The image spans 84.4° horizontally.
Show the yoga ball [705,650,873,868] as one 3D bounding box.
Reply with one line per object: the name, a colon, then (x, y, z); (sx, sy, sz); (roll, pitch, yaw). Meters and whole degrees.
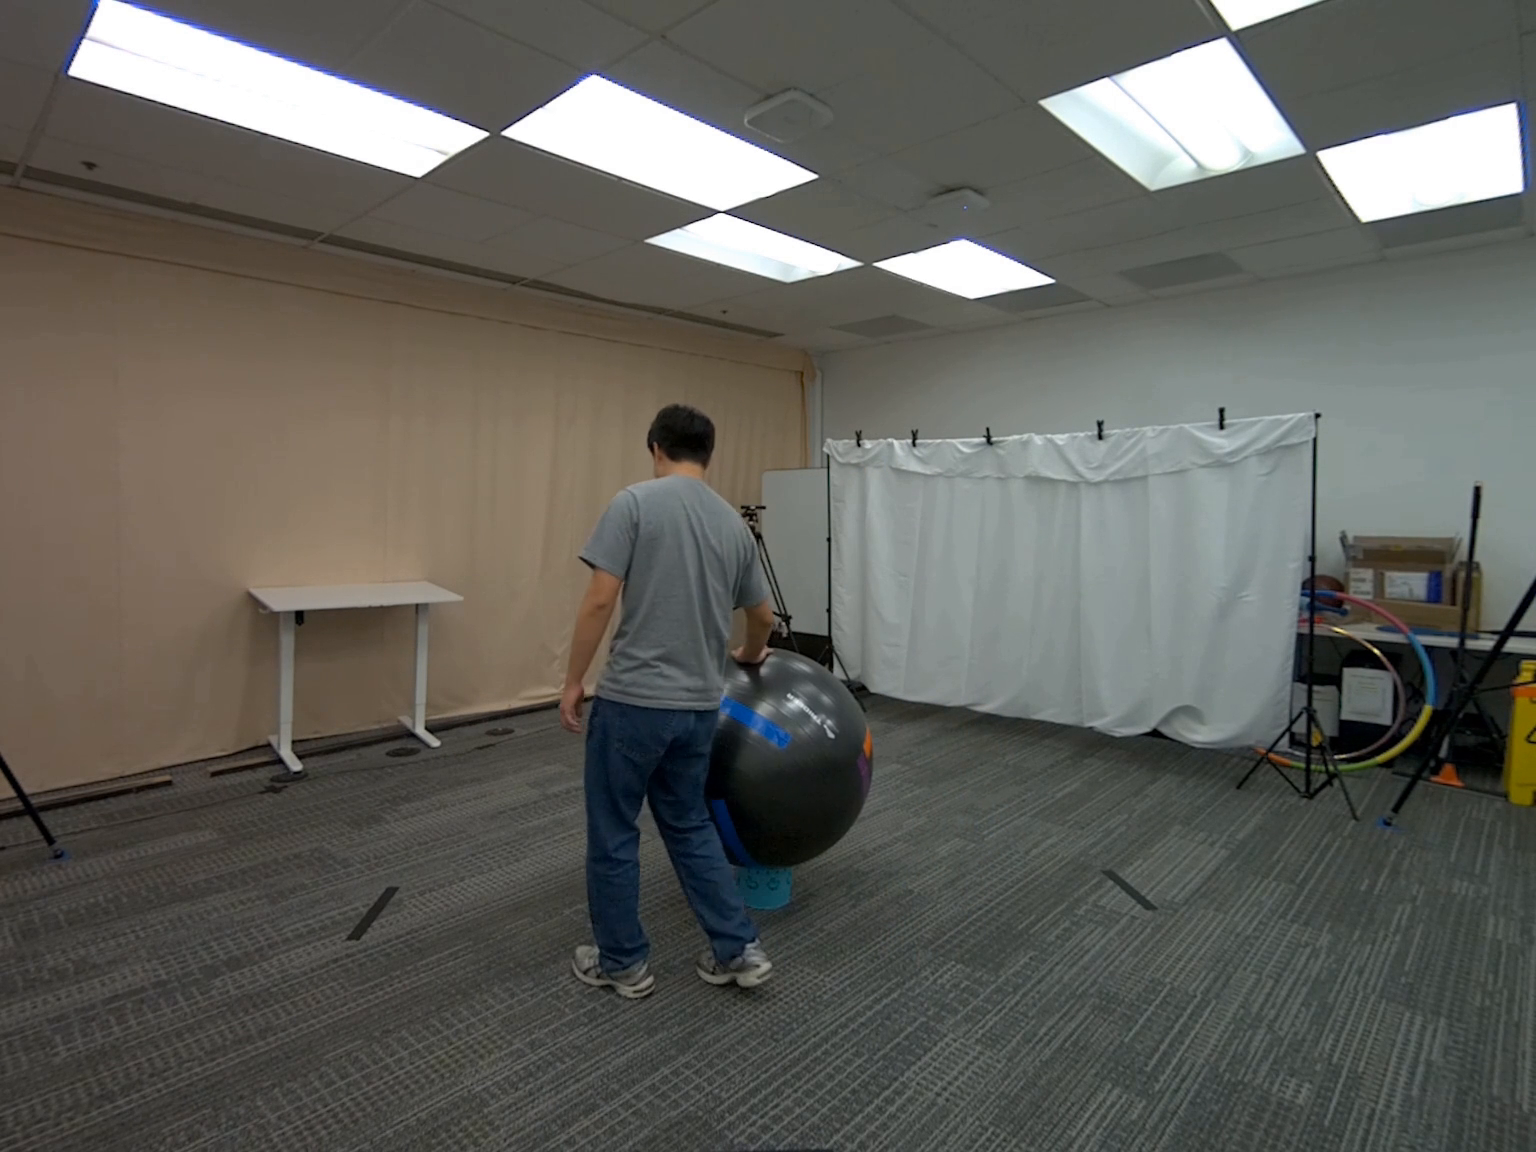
yoga ball: (-0.014, 0.630, 2.970); (0.757, 0.756, 0.760); (0, 4, -2)
